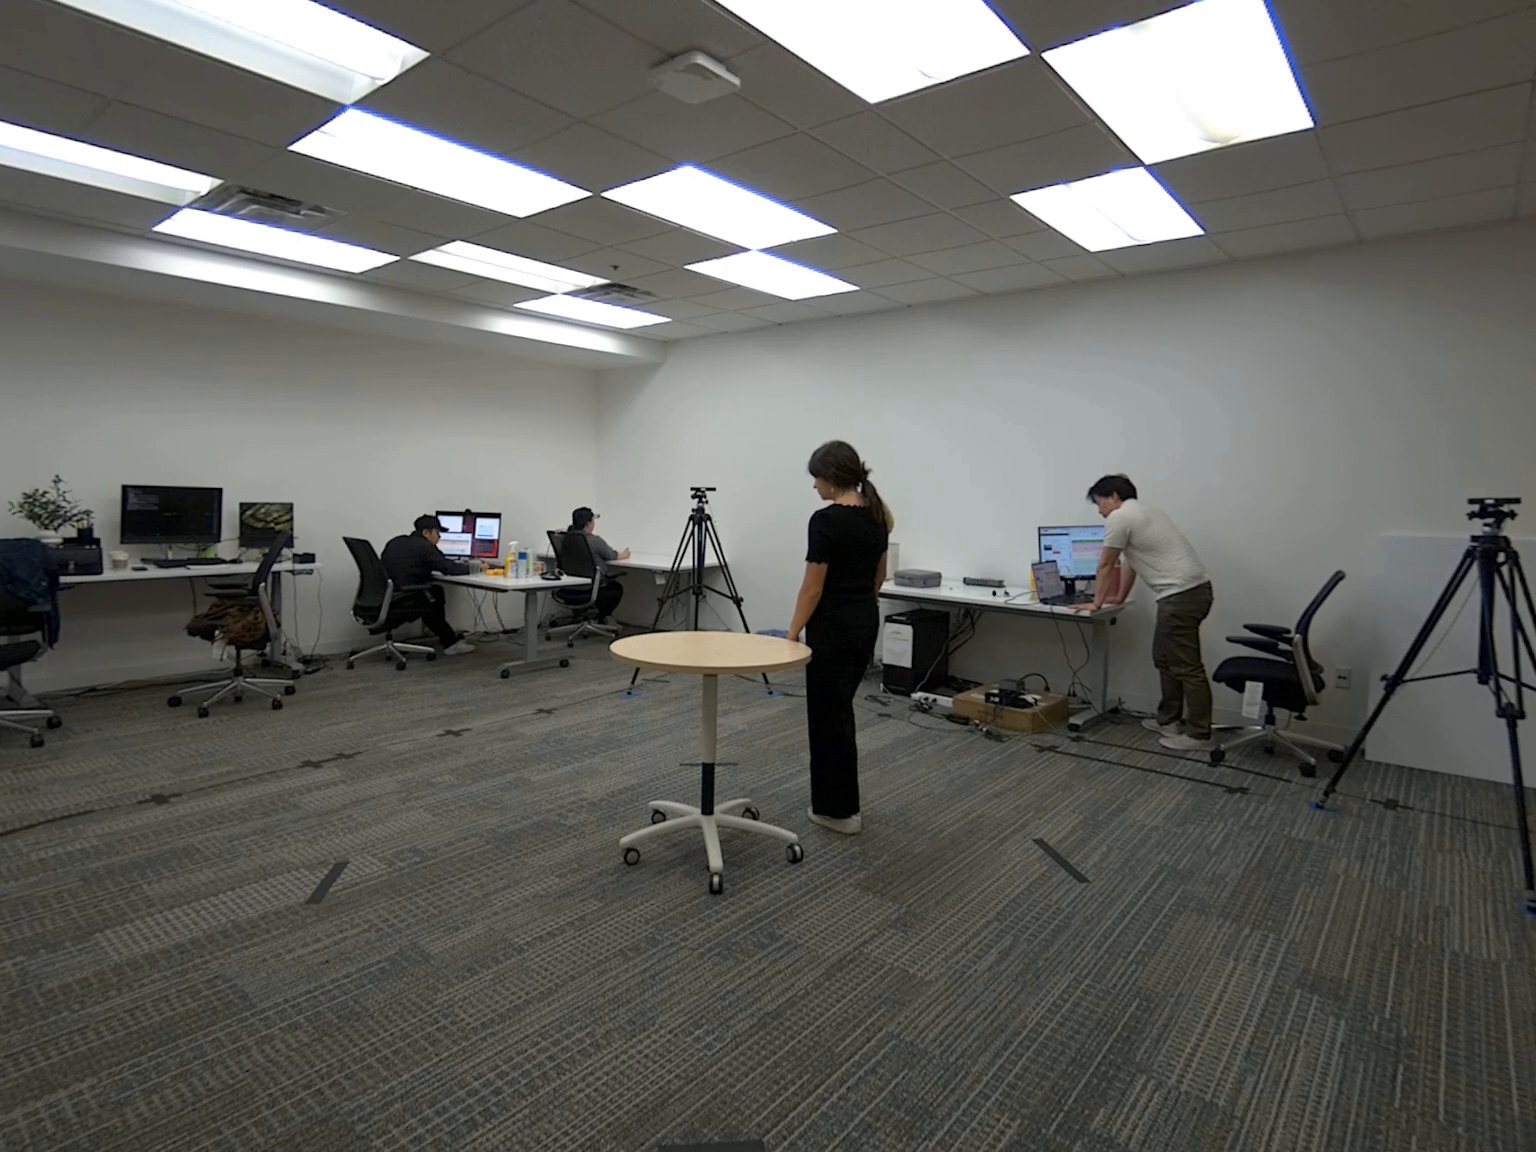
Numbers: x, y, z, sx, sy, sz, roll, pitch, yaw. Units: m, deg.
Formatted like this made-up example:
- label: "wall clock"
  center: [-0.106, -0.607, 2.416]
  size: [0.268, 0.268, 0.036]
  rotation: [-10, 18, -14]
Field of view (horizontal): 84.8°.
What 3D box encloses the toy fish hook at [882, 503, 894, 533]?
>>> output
- label: "toy fish hook"
  center: [0.431, -0.111, 3.534]
  size: [0.047, 0.505, 0.231]
  rotation: [-13, 4, -42]
